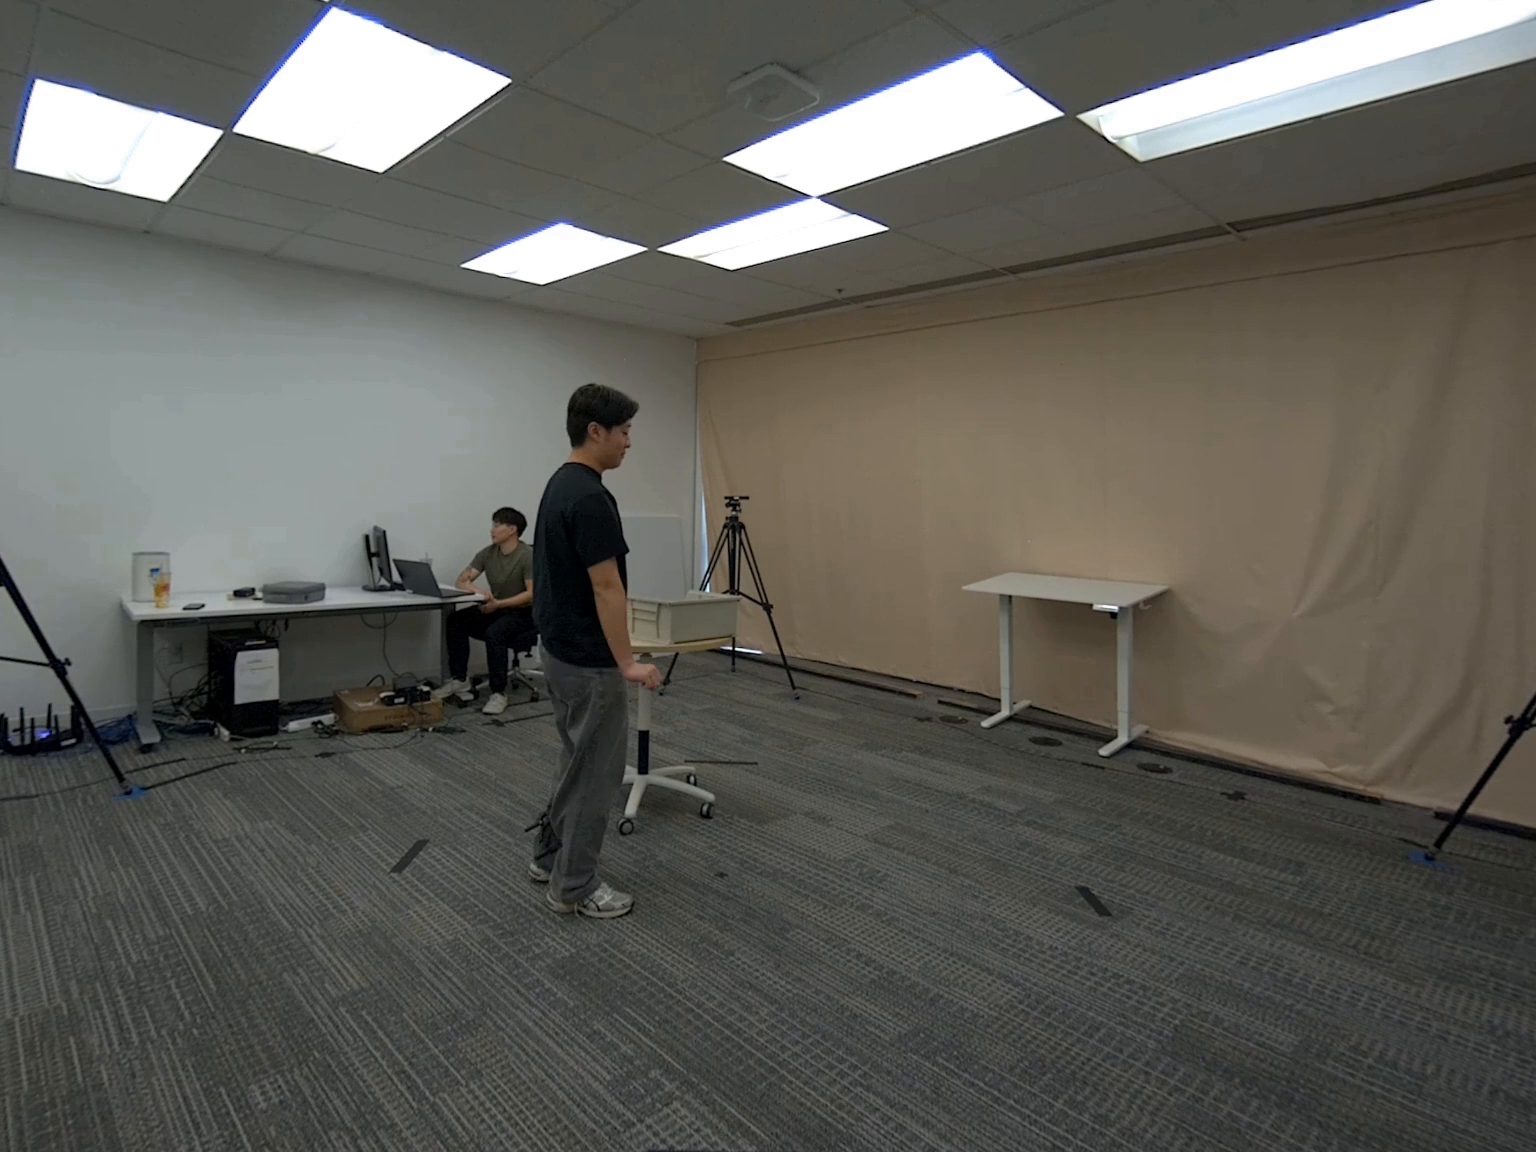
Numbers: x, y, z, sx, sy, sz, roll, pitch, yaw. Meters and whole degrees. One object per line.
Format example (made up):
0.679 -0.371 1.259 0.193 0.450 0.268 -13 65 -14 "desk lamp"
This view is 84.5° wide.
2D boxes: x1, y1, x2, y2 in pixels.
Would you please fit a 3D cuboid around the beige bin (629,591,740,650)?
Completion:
-0.399 0.175 3.696 0.387 0.188 0.412 7 6 44 "beige bin"
